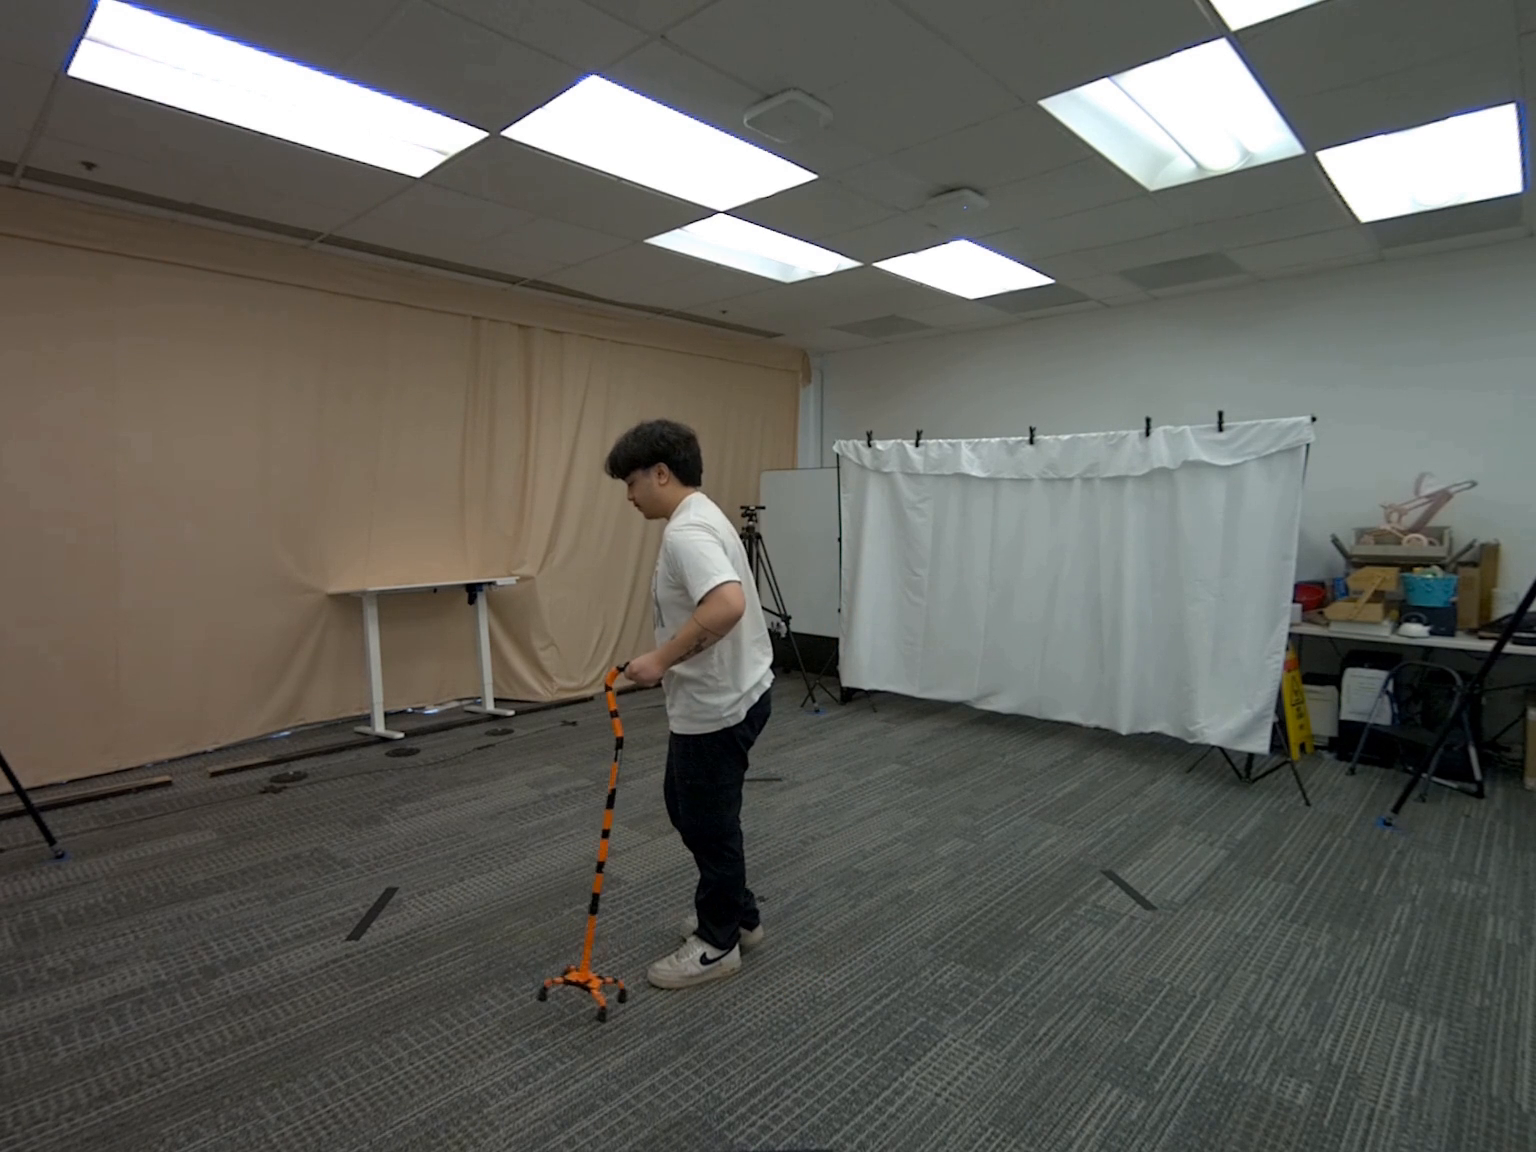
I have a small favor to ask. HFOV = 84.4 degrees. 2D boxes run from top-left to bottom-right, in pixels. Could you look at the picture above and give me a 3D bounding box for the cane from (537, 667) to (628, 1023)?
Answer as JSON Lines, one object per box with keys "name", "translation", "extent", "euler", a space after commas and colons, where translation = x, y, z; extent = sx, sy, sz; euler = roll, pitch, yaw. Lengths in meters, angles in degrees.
{"name": "cane", "translation": [-0.427, 0.701, 2.285], "extent": [0.210, 0.909, 0.148], "euler": [7, -2, 17]}
